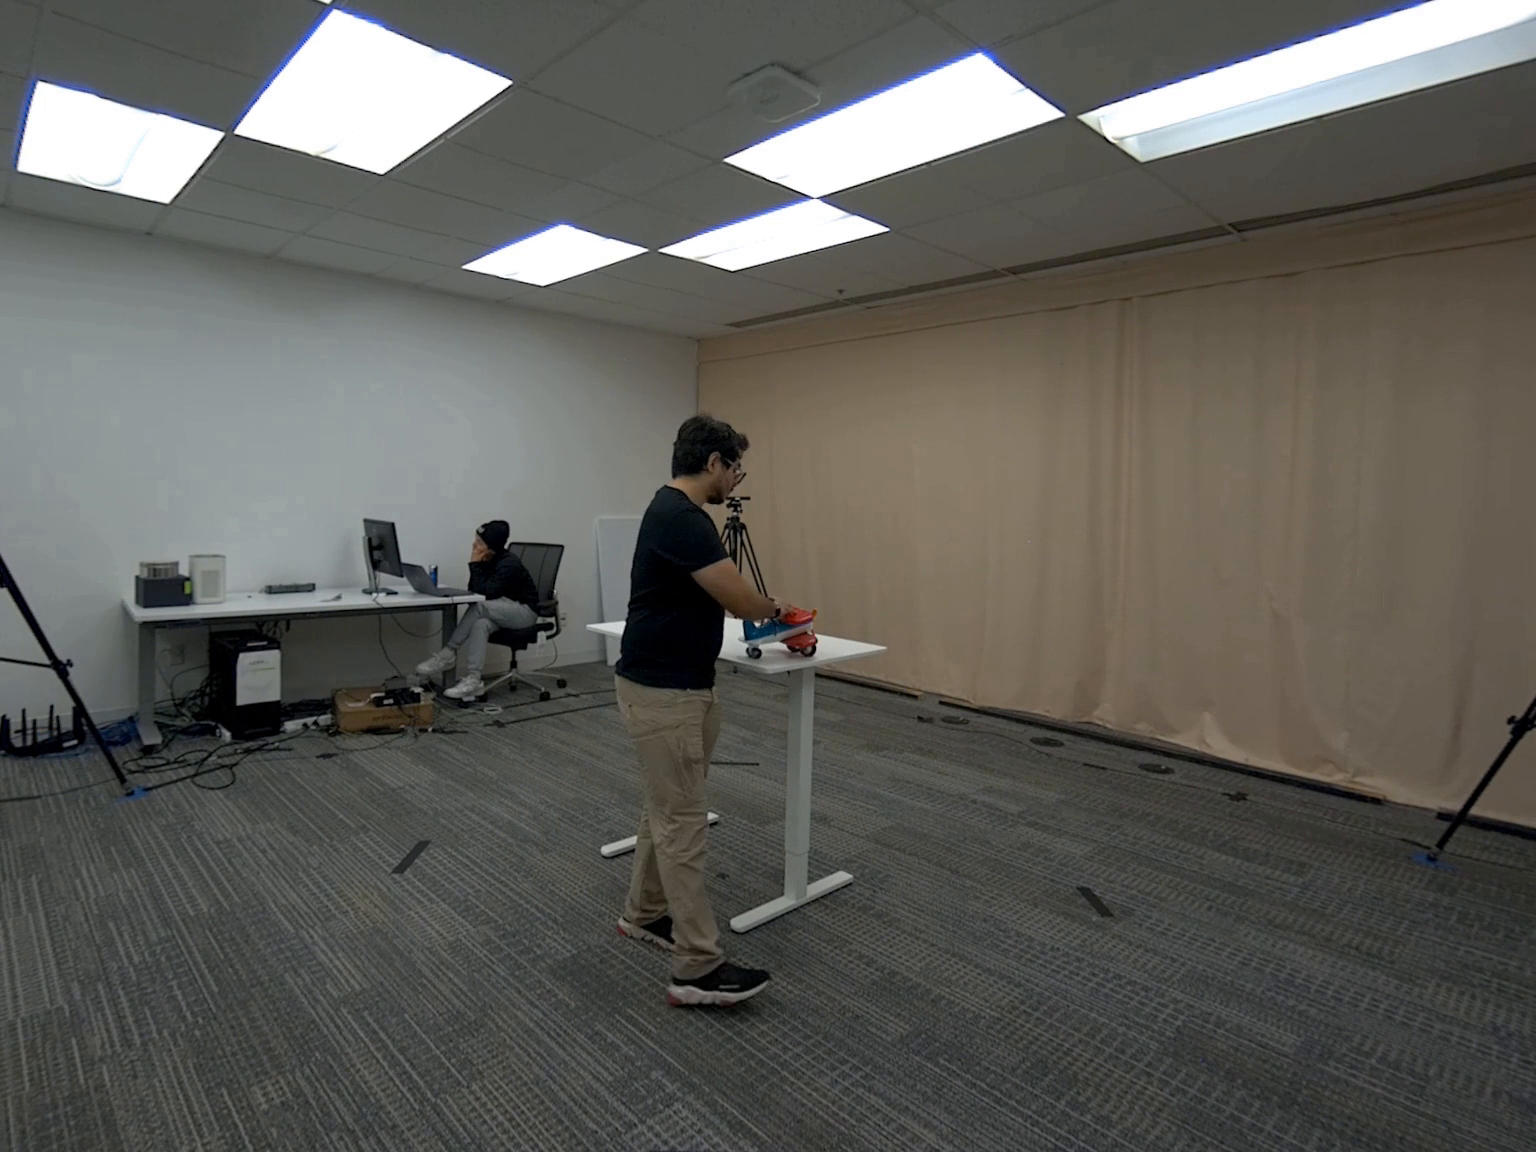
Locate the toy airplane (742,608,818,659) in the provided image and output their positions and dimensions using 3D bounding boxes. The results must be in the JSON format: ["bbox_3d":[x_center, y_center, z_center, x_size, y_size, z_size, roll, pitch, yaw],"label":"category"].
[{"bbox_3d":[0.042,0.187,2.729,0.257,0.156,0.254,4,4,35],"label":"toy airplane"}]
